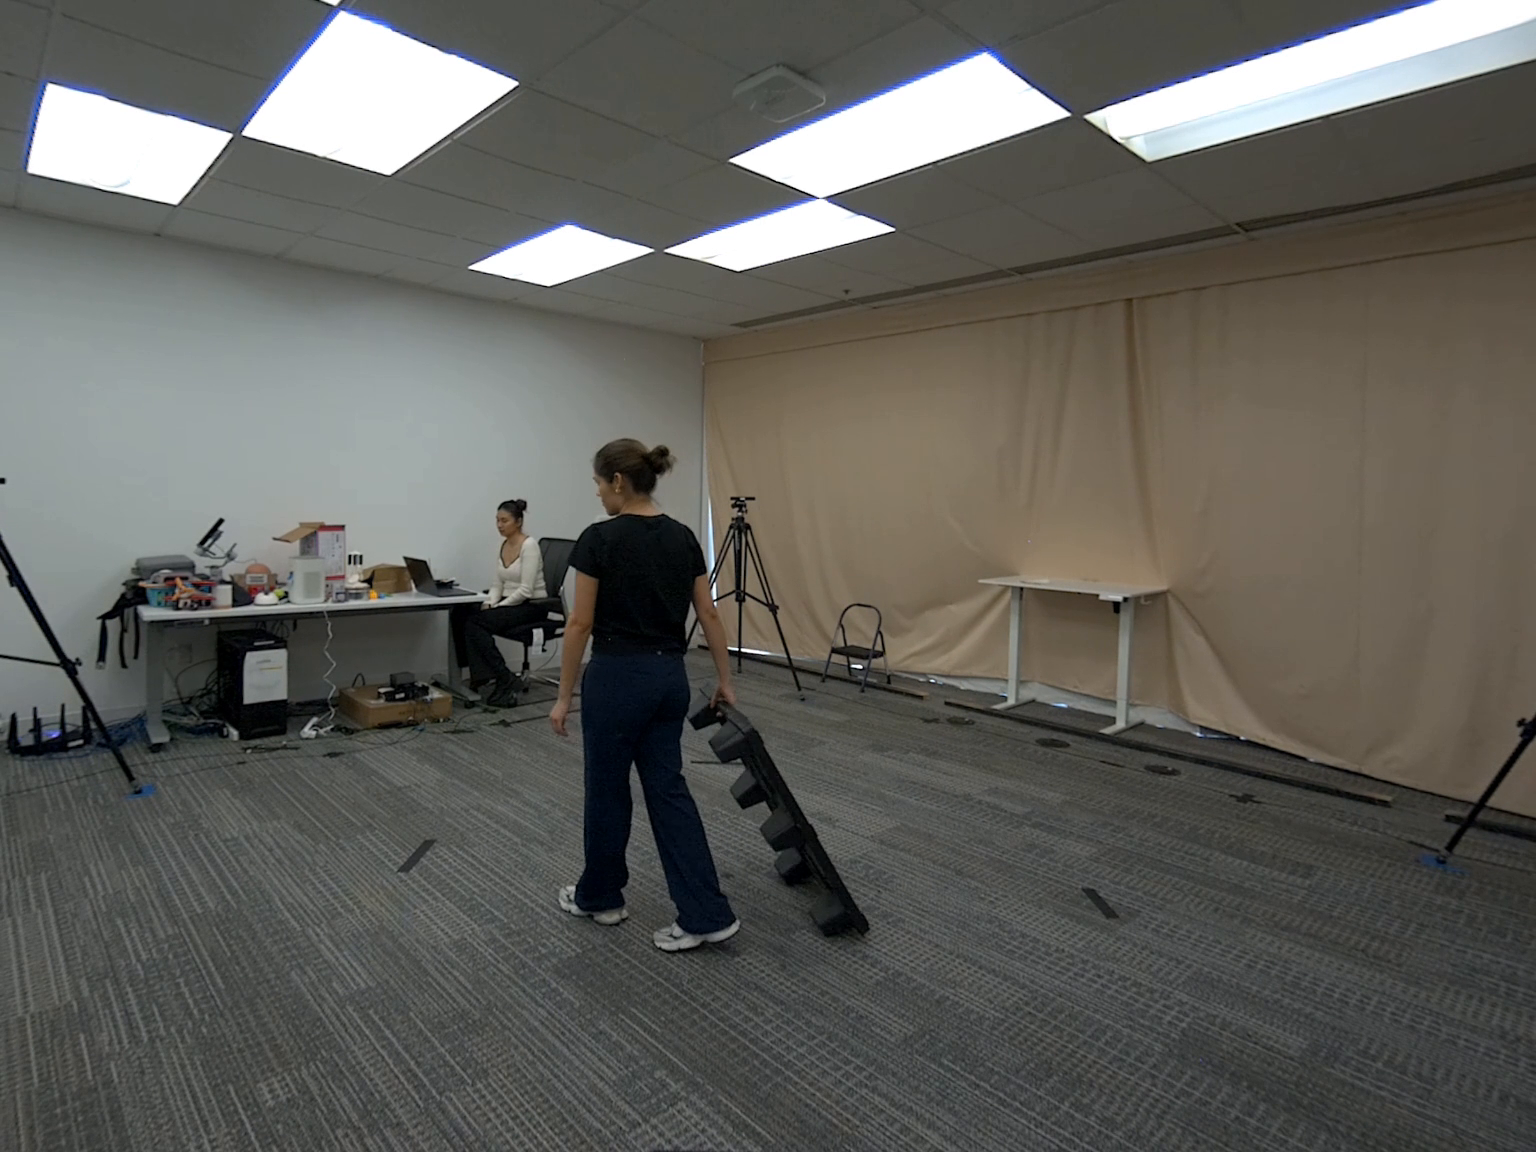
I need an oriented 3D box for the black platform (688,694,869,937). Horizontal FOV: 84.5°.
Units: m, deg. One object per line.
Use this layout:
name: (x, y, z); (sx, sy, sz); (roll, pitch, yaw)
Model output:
black platform: (-0.004, 0.783, 2.845); (0.143, 0.797, 0.614); (-31, 11, -13)
